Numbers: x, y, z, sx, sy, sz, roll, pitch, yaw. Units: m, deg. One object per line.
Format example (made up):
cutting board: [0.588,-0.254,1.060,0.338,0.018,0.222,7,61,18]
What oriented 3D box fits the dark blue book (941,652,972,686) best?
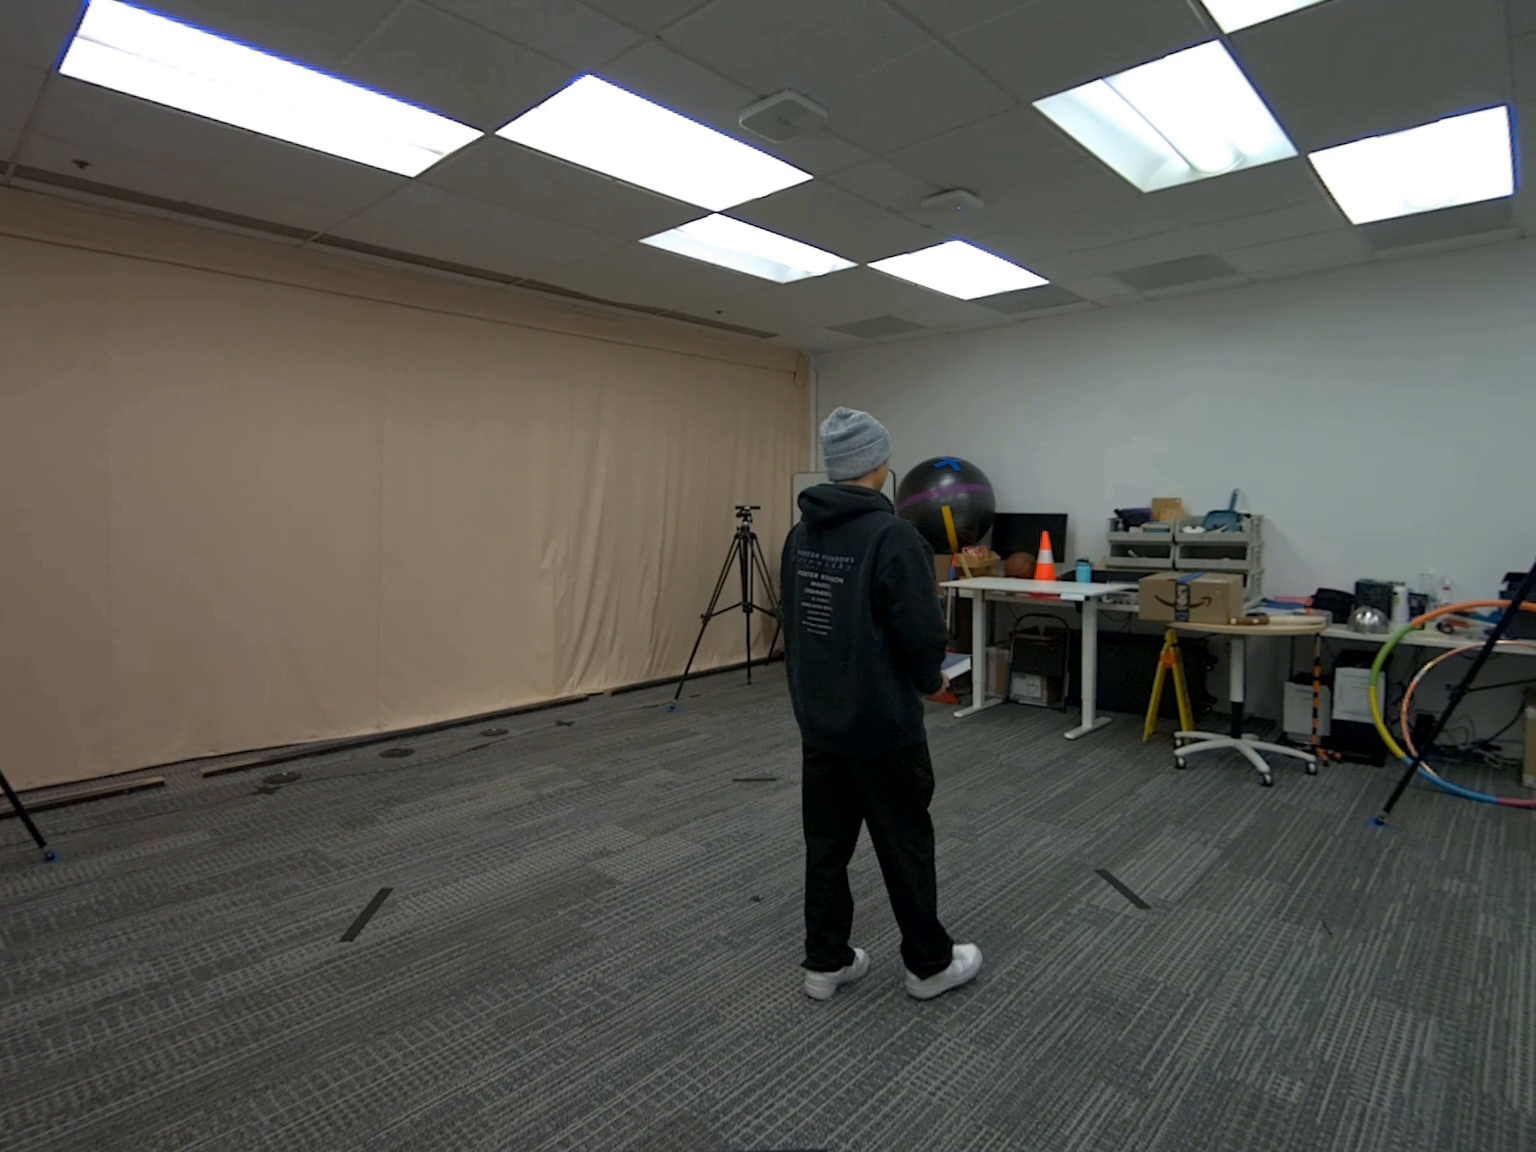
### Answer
dark blue book: [0.500,0.291,2.584,0.168,0.045,0.239,0,11,38]
